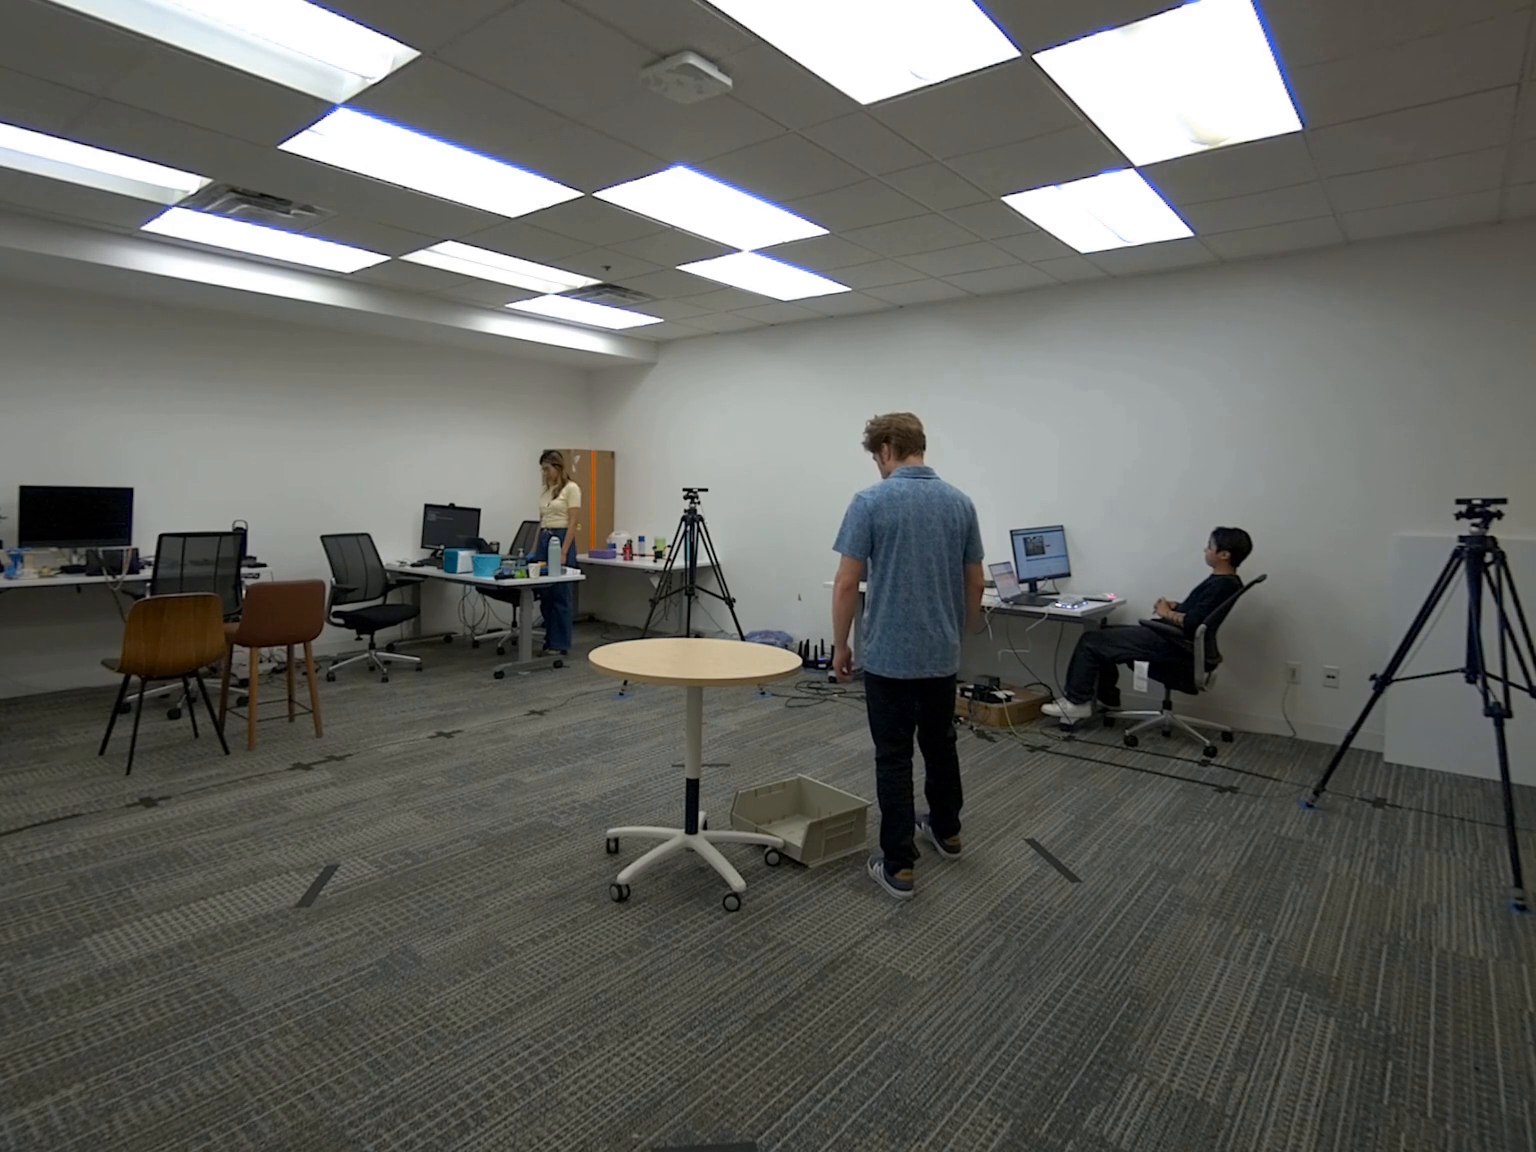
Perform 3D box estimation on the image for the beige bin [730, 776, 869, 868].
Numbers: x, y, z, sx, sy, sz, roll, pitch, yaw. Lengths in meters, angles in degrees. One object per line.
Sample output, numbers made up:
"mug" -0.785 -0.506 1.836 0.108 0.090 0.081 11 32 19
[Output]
"beige bin" 0.120 0.966 3.378 0.366 0.188 0.437 -2 6 -40
